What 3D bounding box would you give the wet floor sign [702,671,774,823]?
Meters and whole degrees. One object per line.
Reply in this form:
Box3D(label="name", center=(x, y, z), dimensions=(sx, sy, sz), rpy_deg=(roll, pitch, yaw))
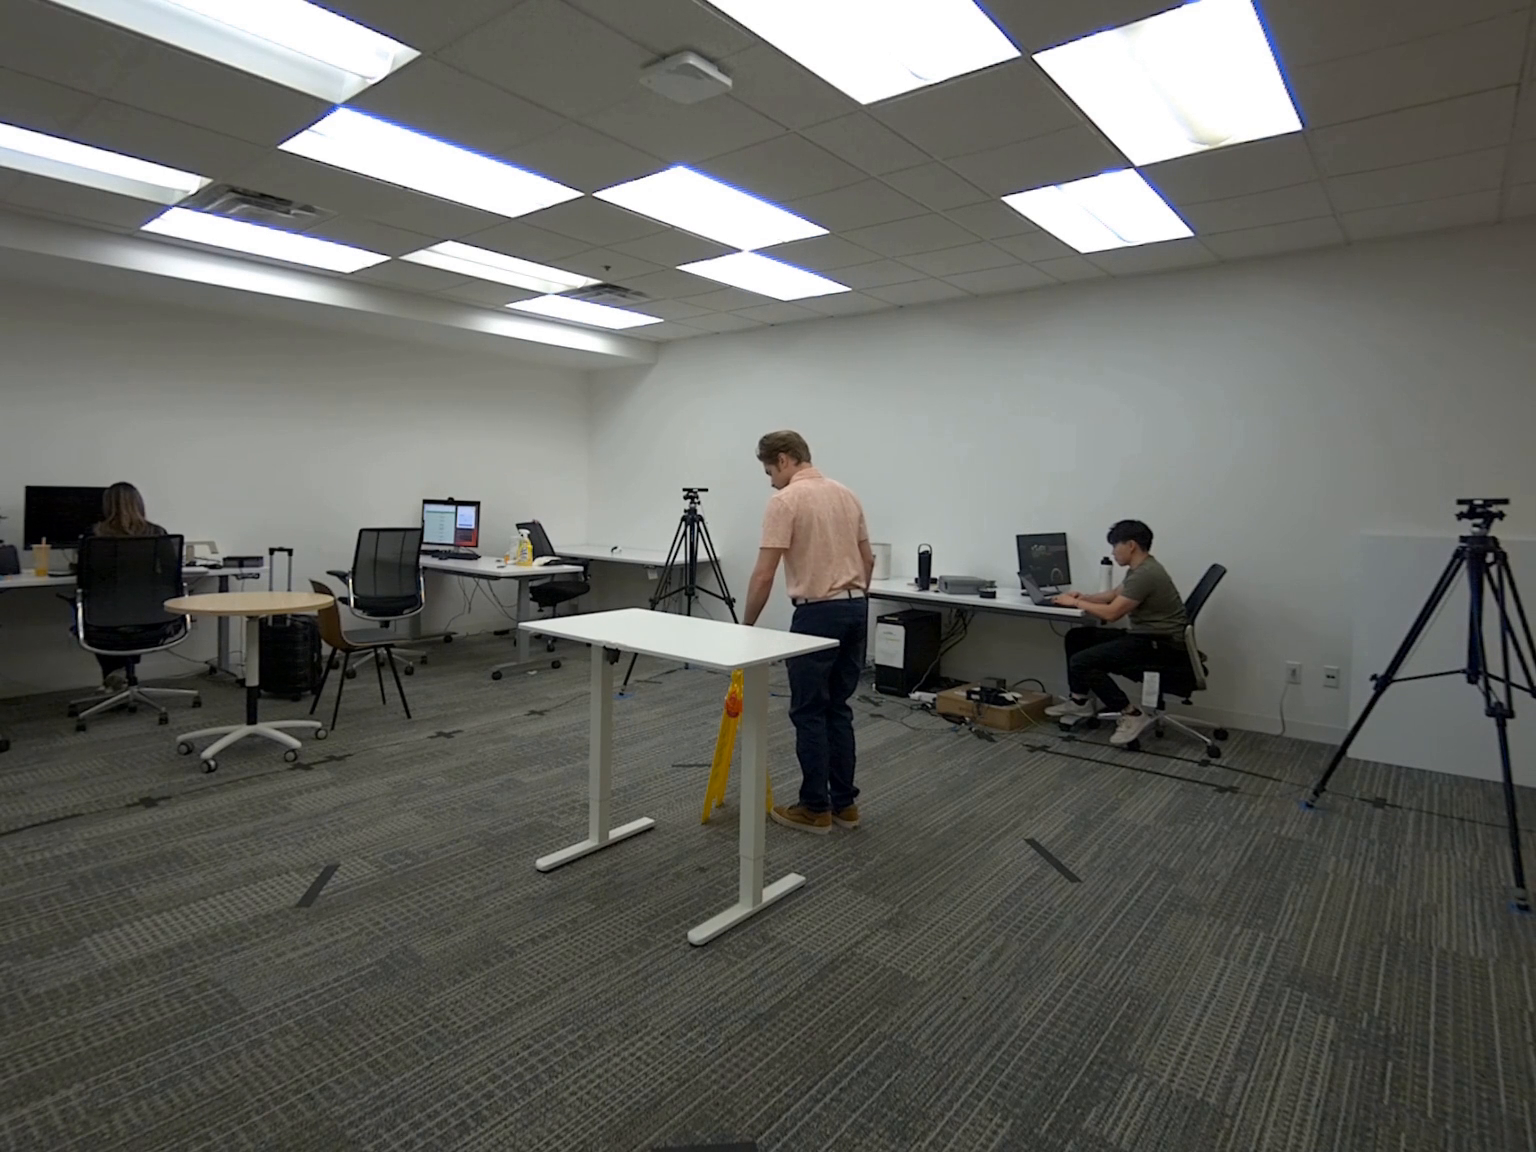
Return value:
Box3D(label="wet floor sign", center=(-0.127, 0.700, 3.616), dimensions=(0.294, 0.643, 0.280), rpy_deg=(1, 5, 12))
